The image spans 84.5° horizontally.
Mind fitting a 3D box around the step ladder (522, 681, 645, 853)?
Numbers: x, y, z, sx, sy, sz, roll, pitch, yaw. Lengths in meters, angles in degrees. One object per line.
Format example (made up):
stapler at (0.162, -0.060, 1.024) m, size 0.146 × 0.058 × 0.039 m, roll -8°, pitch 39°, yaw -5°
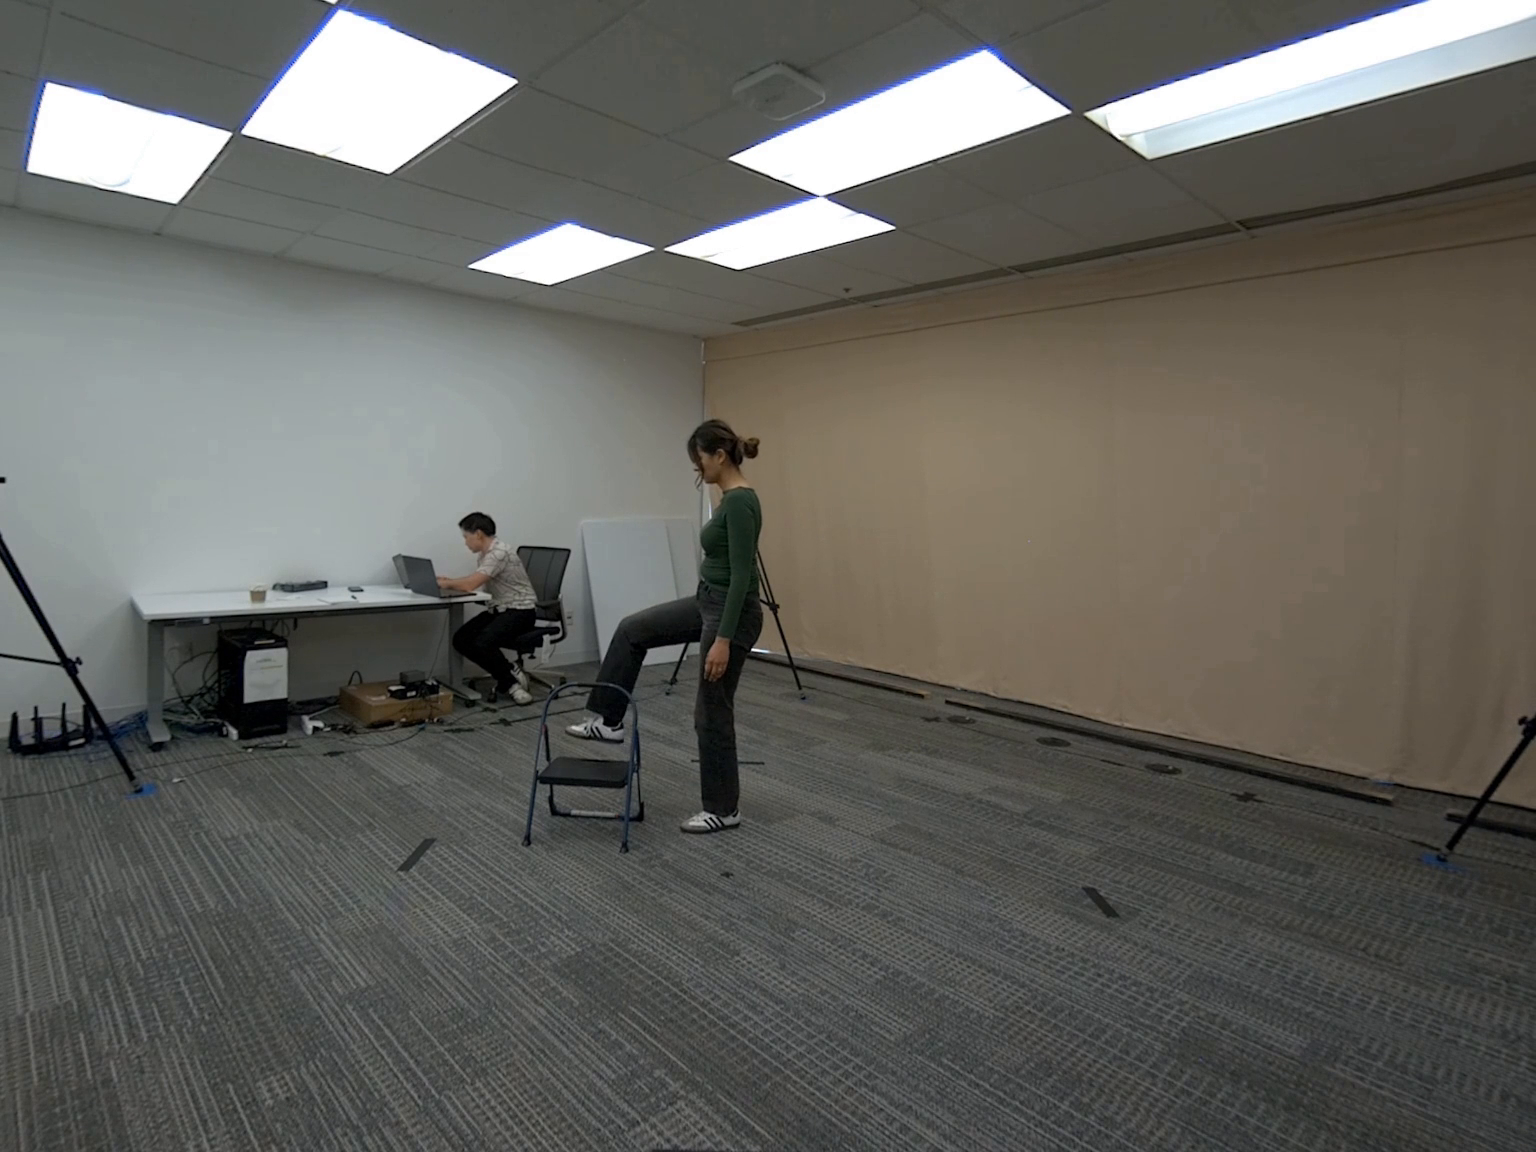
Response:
step ladder at (-0.747, 0.758, 3.448) m, size 0.433 × 0.604 × 0.349 m, roll 2°, pitch 4°, yaw 5°
